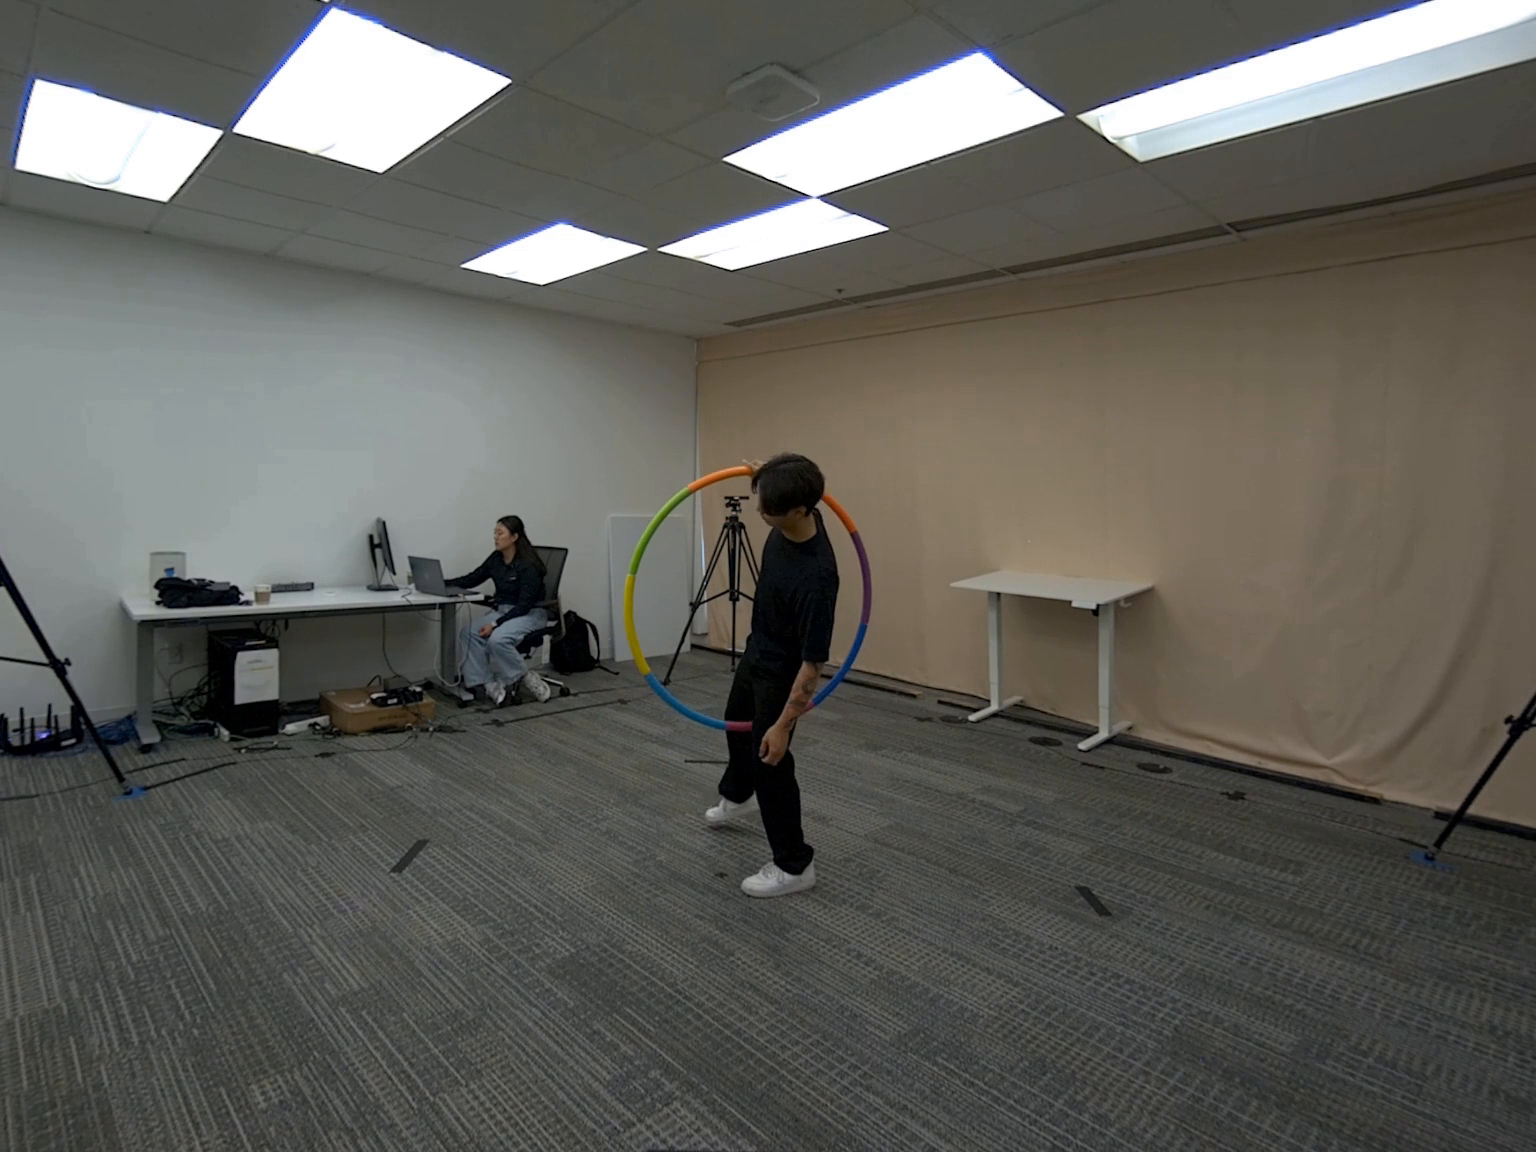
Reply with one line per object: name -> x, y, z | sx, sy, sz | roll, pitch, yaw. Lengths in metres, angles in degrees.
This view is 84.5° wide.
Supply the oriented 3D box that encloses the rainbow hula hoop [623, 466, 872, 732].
rainbow hula hoop -> -0.064, 0.086, 3.153 | 0.965, 0.975, 0.036 | 0, 5, -17
